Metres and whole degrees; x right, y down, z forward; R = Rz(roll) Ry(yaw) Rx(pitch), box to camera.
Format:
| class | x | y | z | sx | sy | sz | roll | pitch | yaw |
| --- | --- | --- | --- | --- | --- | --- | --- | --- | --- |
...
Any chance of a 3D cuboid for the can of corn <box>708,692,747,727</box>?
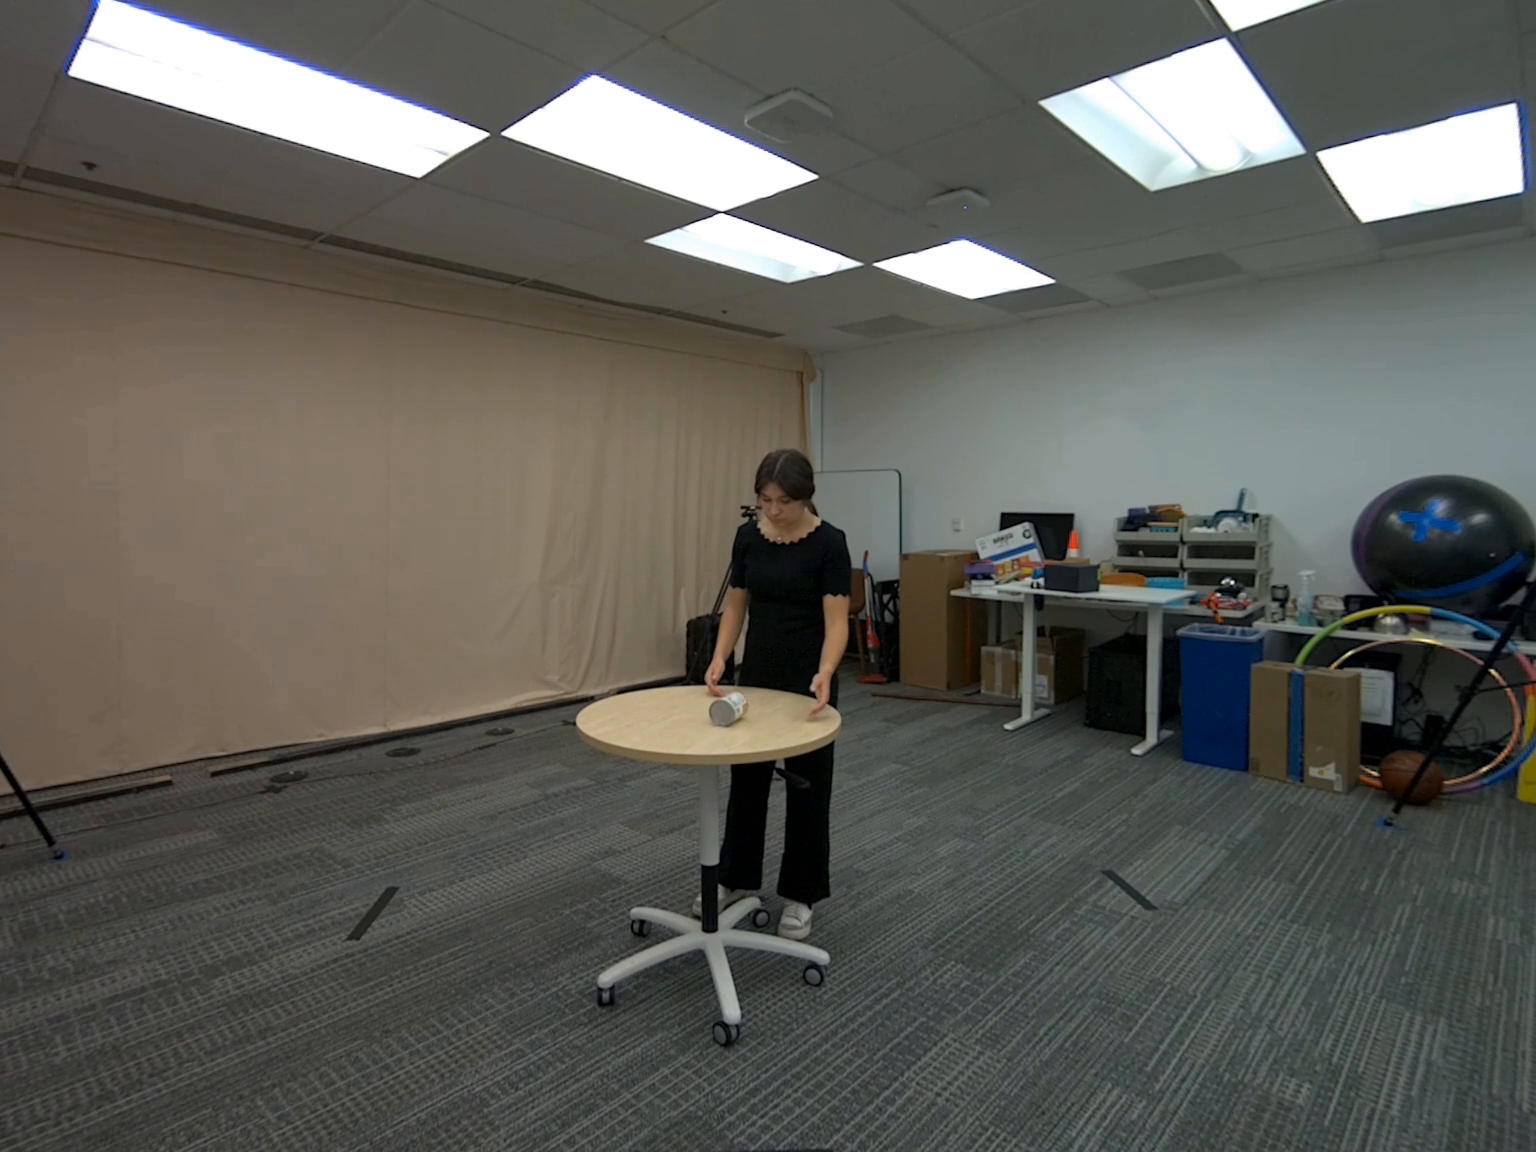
| class | x | y | z | sx | sy | sz | roll | pitch | yaw |
| --- | --- | --- | --- | --- | --- | --- | --- | --- | --- |
| can of corn | -0.108 | 0.376 | 2.382 | 0.076 | 0.074 | 0.109 | 1 | 1 | 19 |
